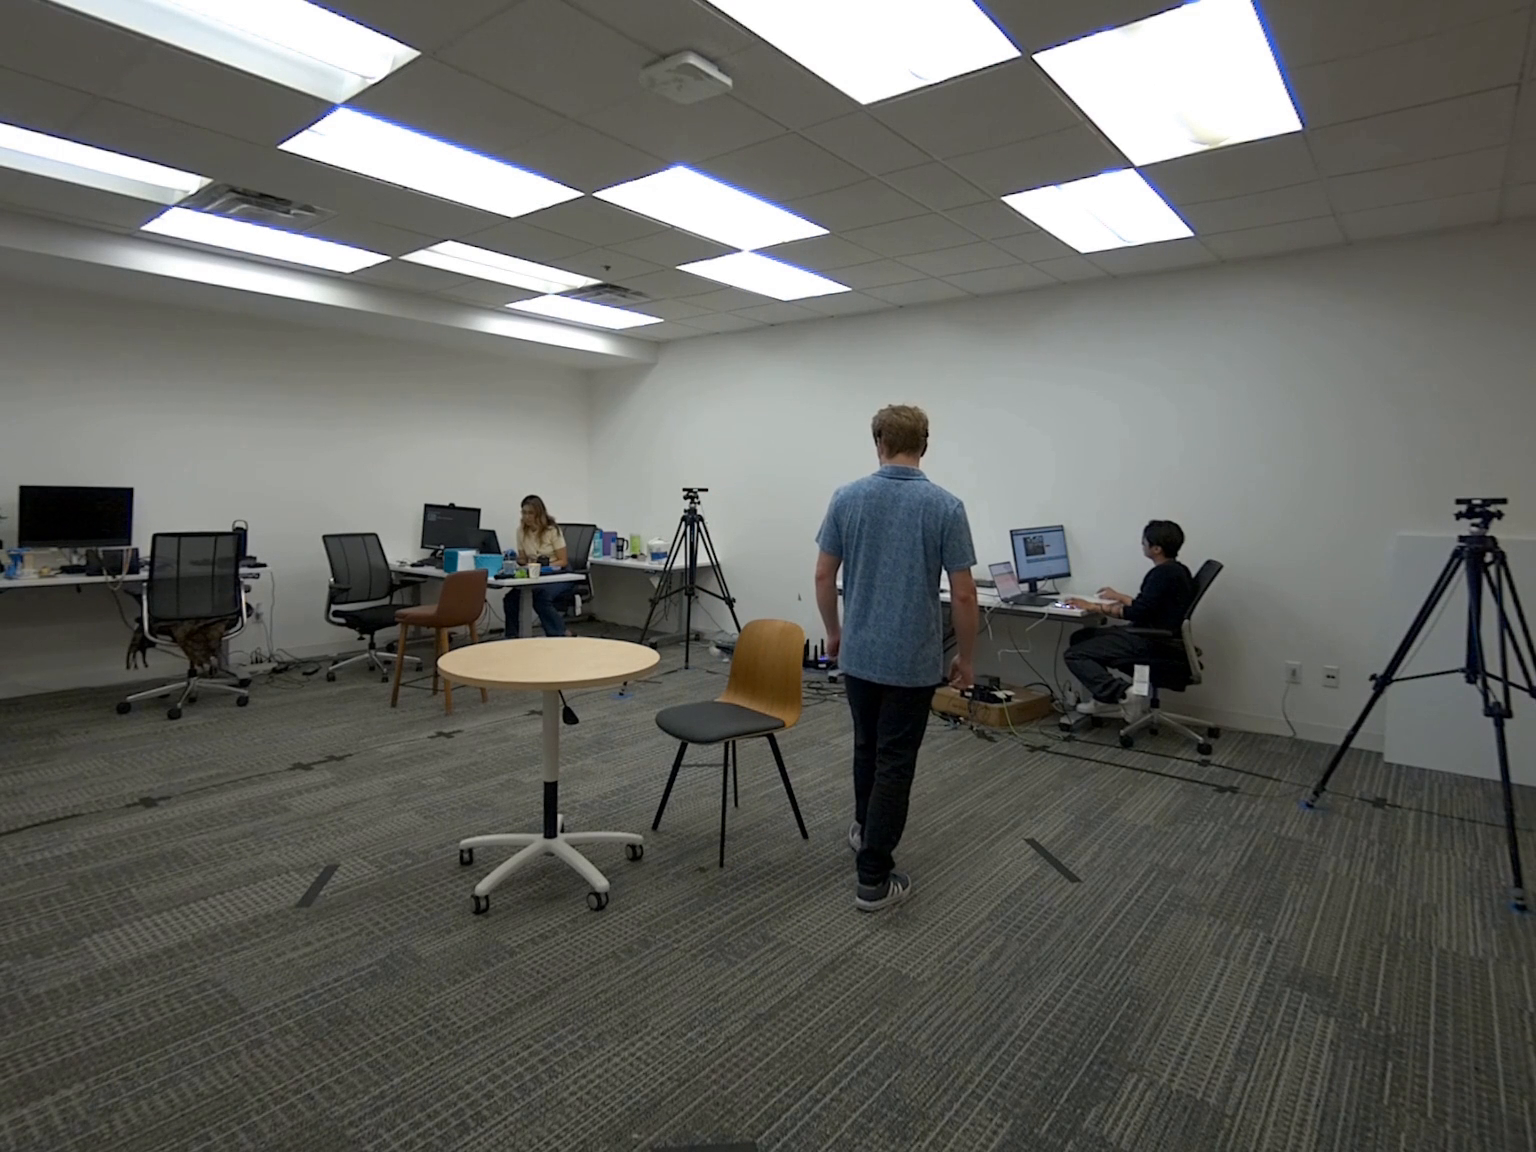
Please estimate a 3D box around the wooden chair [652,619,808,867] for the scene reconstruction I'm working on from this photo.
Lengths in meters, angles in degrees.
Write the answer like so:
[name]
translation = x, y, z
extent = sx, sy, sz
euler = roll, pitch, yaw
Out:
[wooden chair]
translation = -0.160, 0.614, 3.403
extent = 0.506, 0.877, 0.494
euler = 4, 1, -42
